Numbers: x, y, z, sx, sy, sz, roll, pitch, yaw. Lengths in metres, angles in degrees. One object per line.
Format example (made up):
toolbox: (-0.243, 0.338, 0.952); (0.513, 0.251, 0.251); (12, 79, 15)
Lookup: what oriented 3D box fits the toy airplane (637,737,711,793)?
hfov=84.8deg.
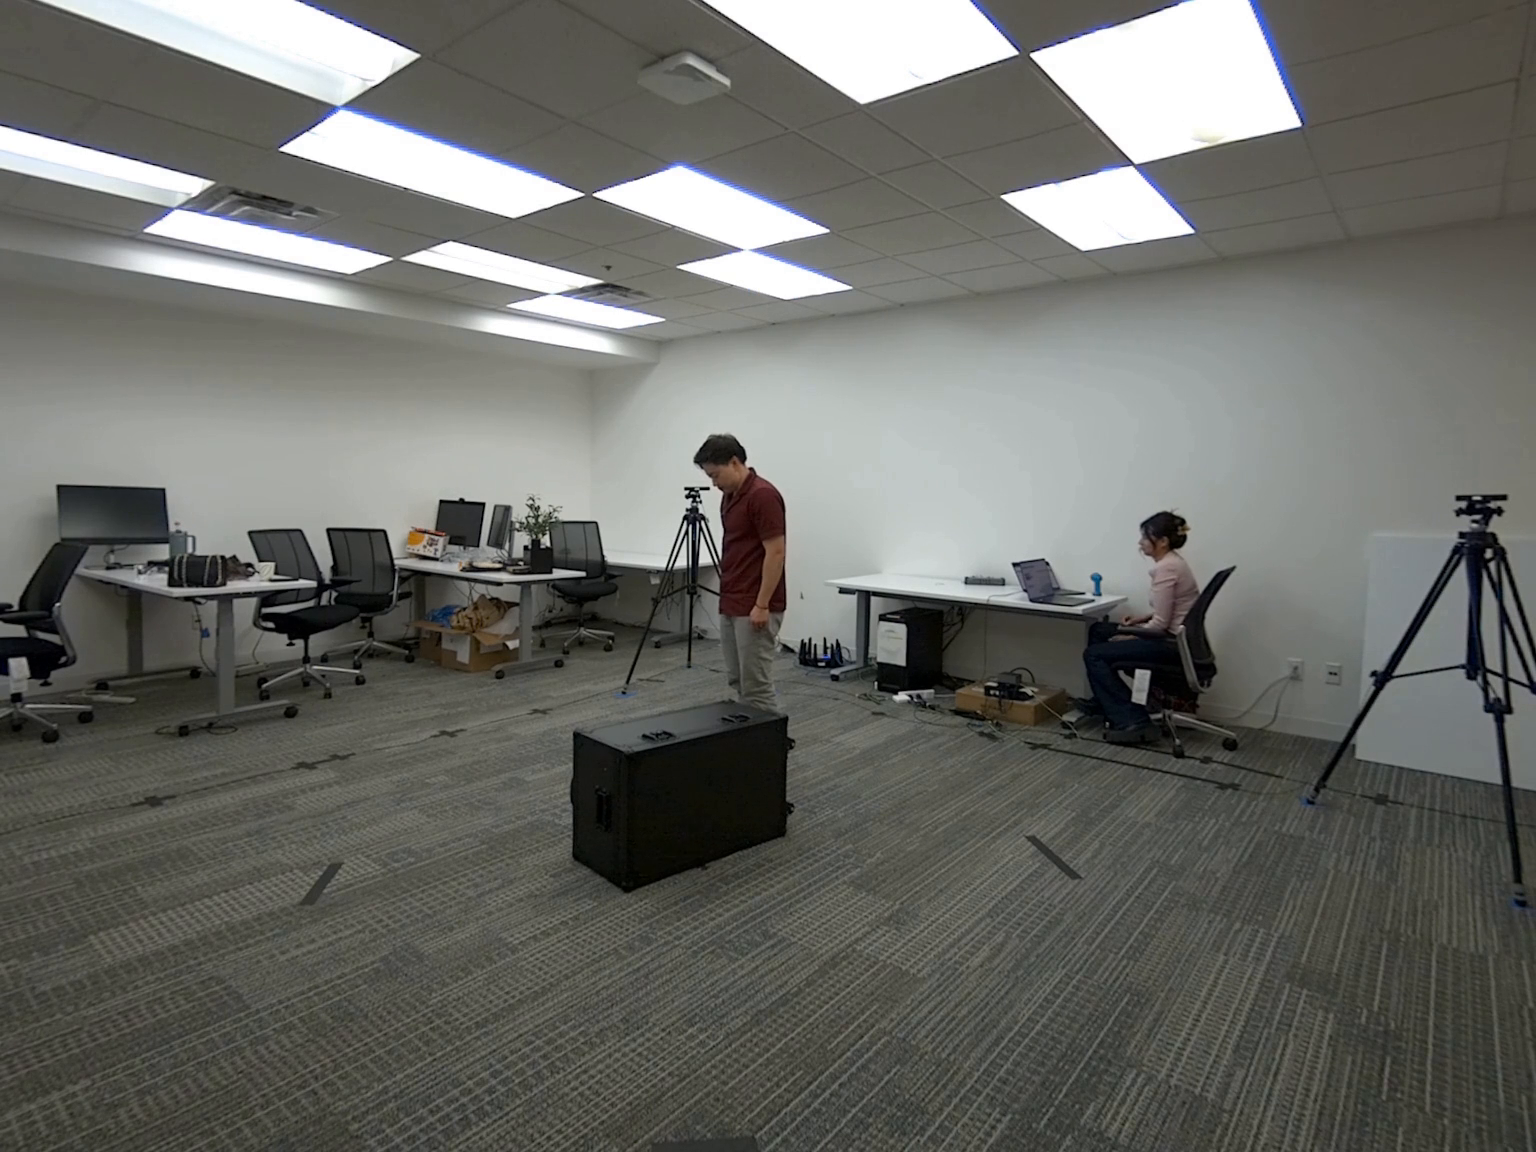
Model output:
toy airplane: (-0.449, 0.894, 4.013); (0.266, 0.156, 0.245); (2, 4, 26)
